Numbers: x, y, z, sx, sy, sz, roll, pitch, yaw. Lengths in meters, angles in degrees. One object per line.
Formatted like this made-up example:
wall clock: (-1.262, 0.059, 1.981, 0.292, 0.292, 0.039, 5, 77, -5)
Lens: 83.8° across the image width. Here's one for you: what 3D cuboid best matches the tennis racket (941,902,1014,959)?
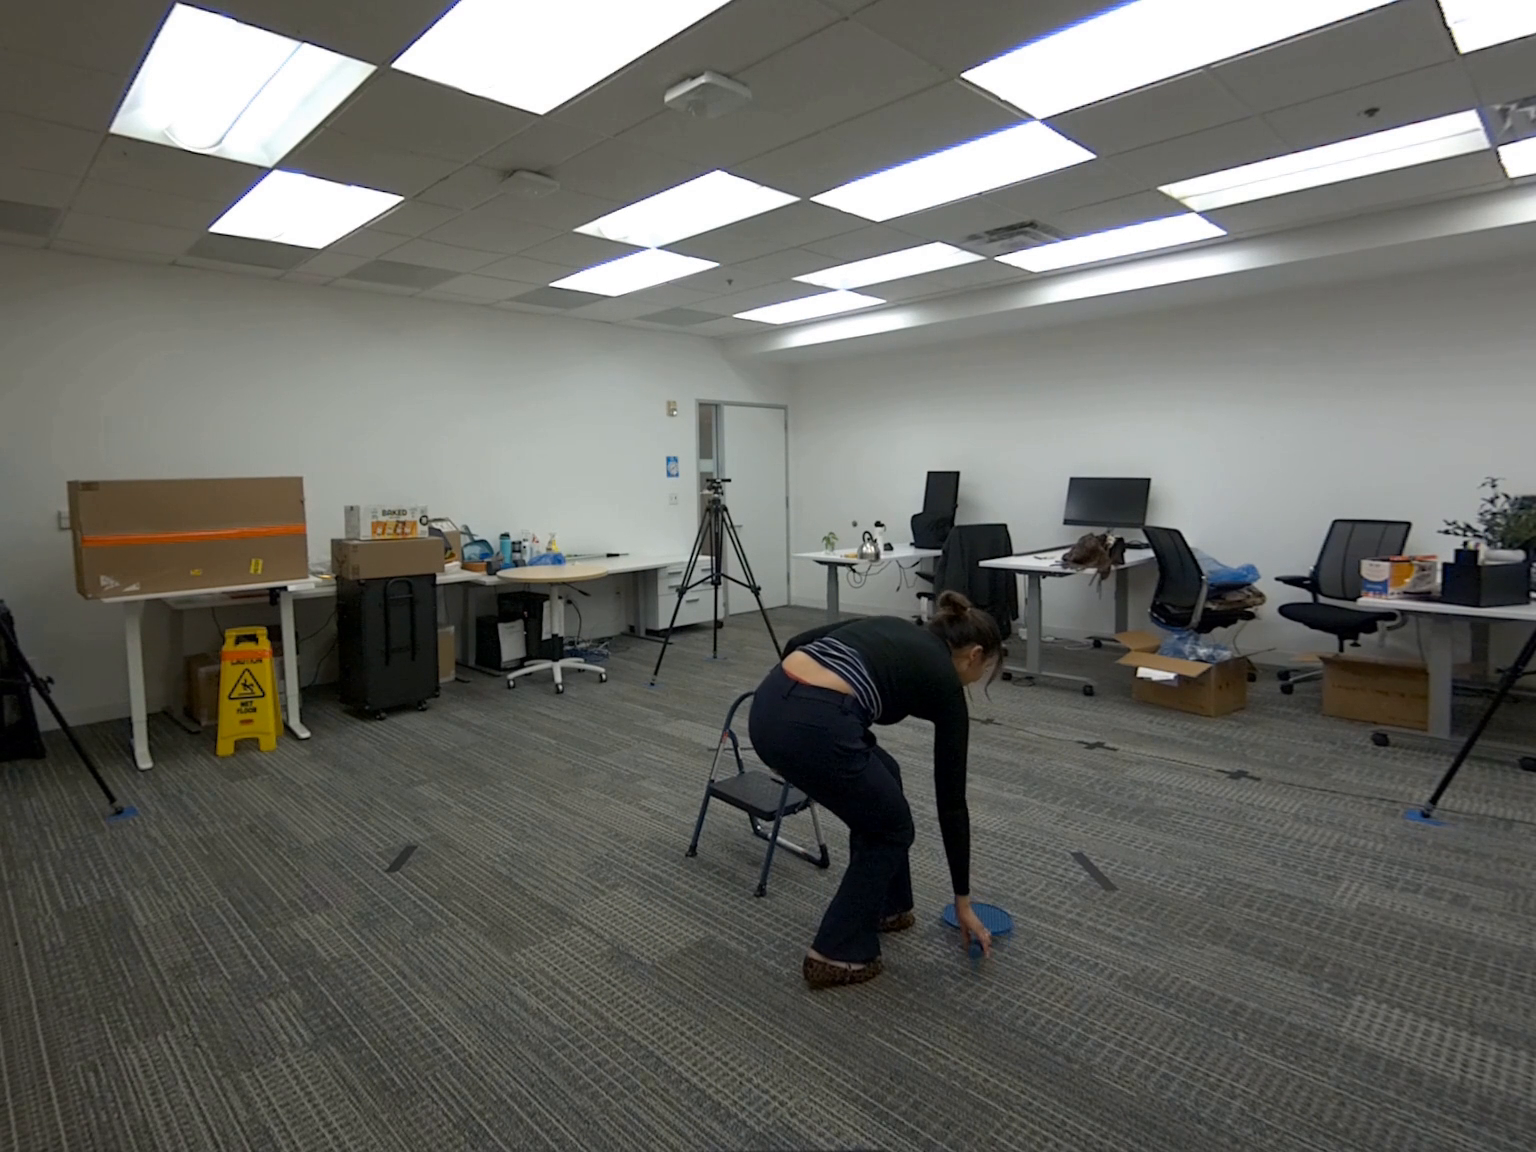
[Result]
tennis racket: (0.627, 1.048, 2.566, 0.217, 0.032, 0.425, 1, -1, 16)
